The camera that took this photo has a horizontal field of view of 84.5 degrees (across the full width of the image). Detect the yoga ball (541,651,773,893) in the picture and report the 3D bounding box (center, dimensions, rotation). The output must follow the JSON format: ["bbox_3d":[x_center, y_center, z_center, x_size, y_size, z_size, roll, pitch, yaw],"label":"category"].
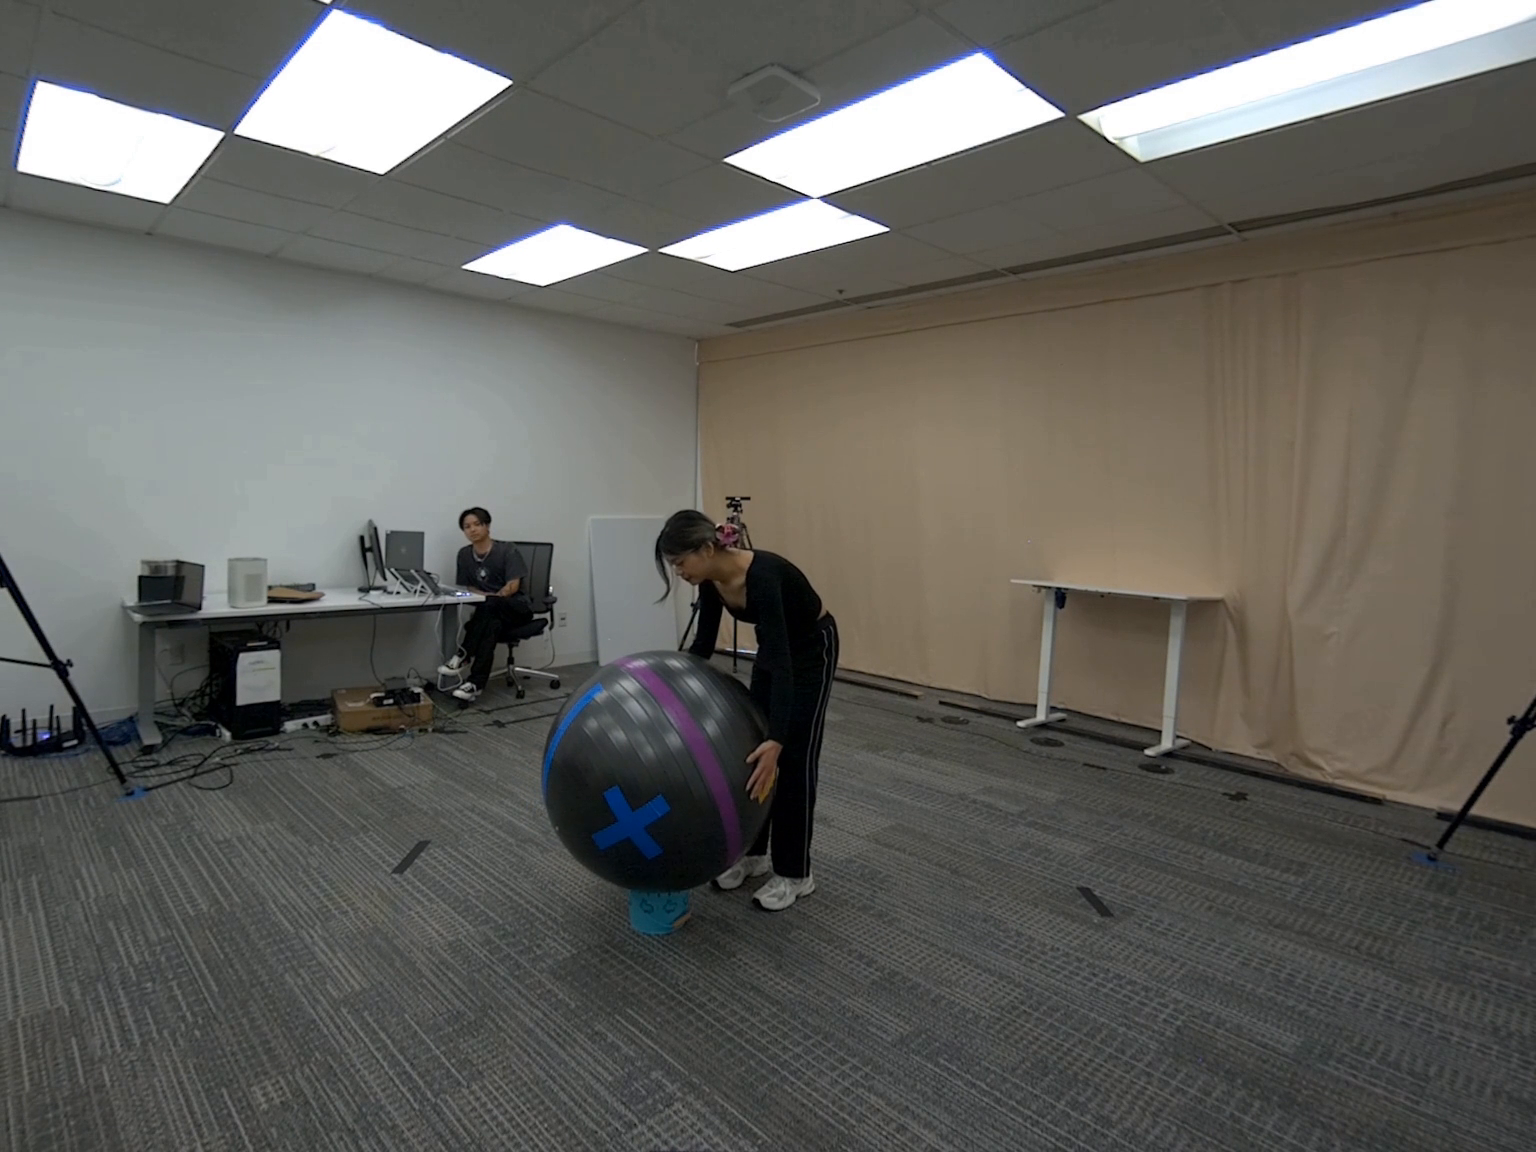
[{"bbox_3d":[-0.354,0.631,2.724,0.757,0.756,0.761,1,4,-1],"label":"yoga ball"}]
